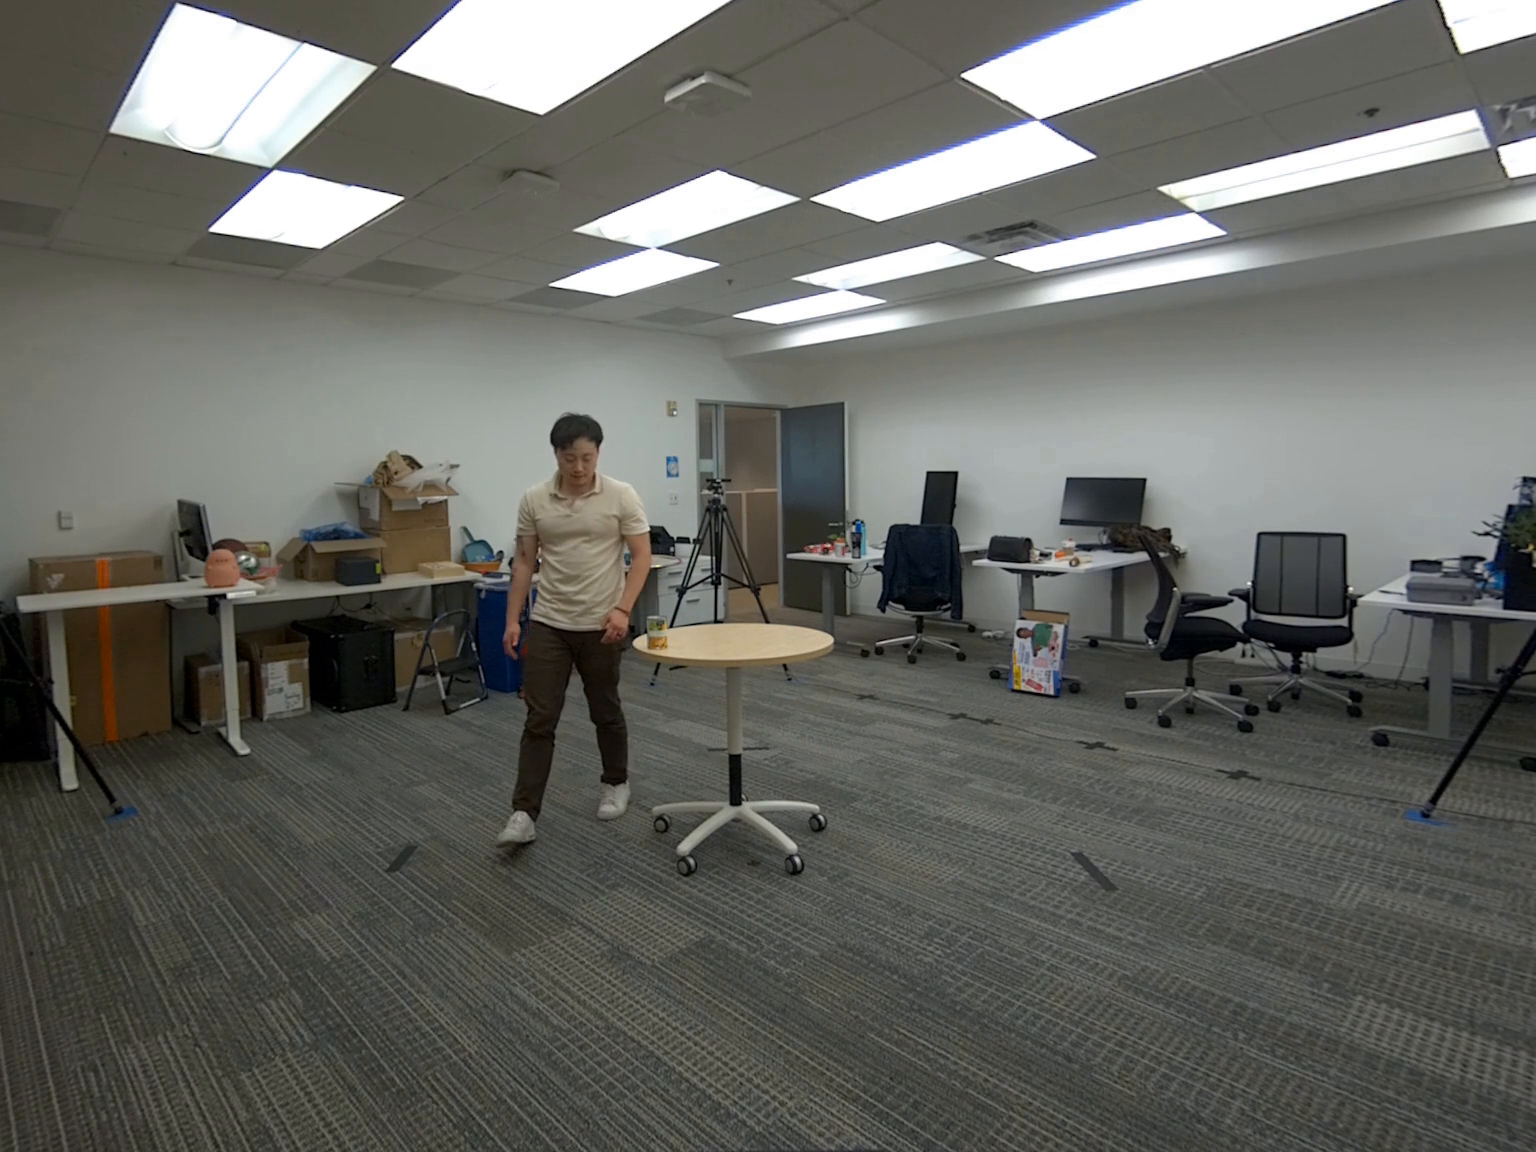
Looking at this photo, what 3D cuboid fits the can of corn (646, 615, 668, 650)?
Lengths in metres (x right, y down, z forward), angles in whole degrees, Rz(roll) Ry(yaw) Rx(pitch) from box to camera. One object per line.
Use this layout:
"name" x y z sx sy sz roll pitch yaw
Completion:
"can of corn" -0.405 0.207 3.125 0.074 0.110 0.074 -3 5 -1
